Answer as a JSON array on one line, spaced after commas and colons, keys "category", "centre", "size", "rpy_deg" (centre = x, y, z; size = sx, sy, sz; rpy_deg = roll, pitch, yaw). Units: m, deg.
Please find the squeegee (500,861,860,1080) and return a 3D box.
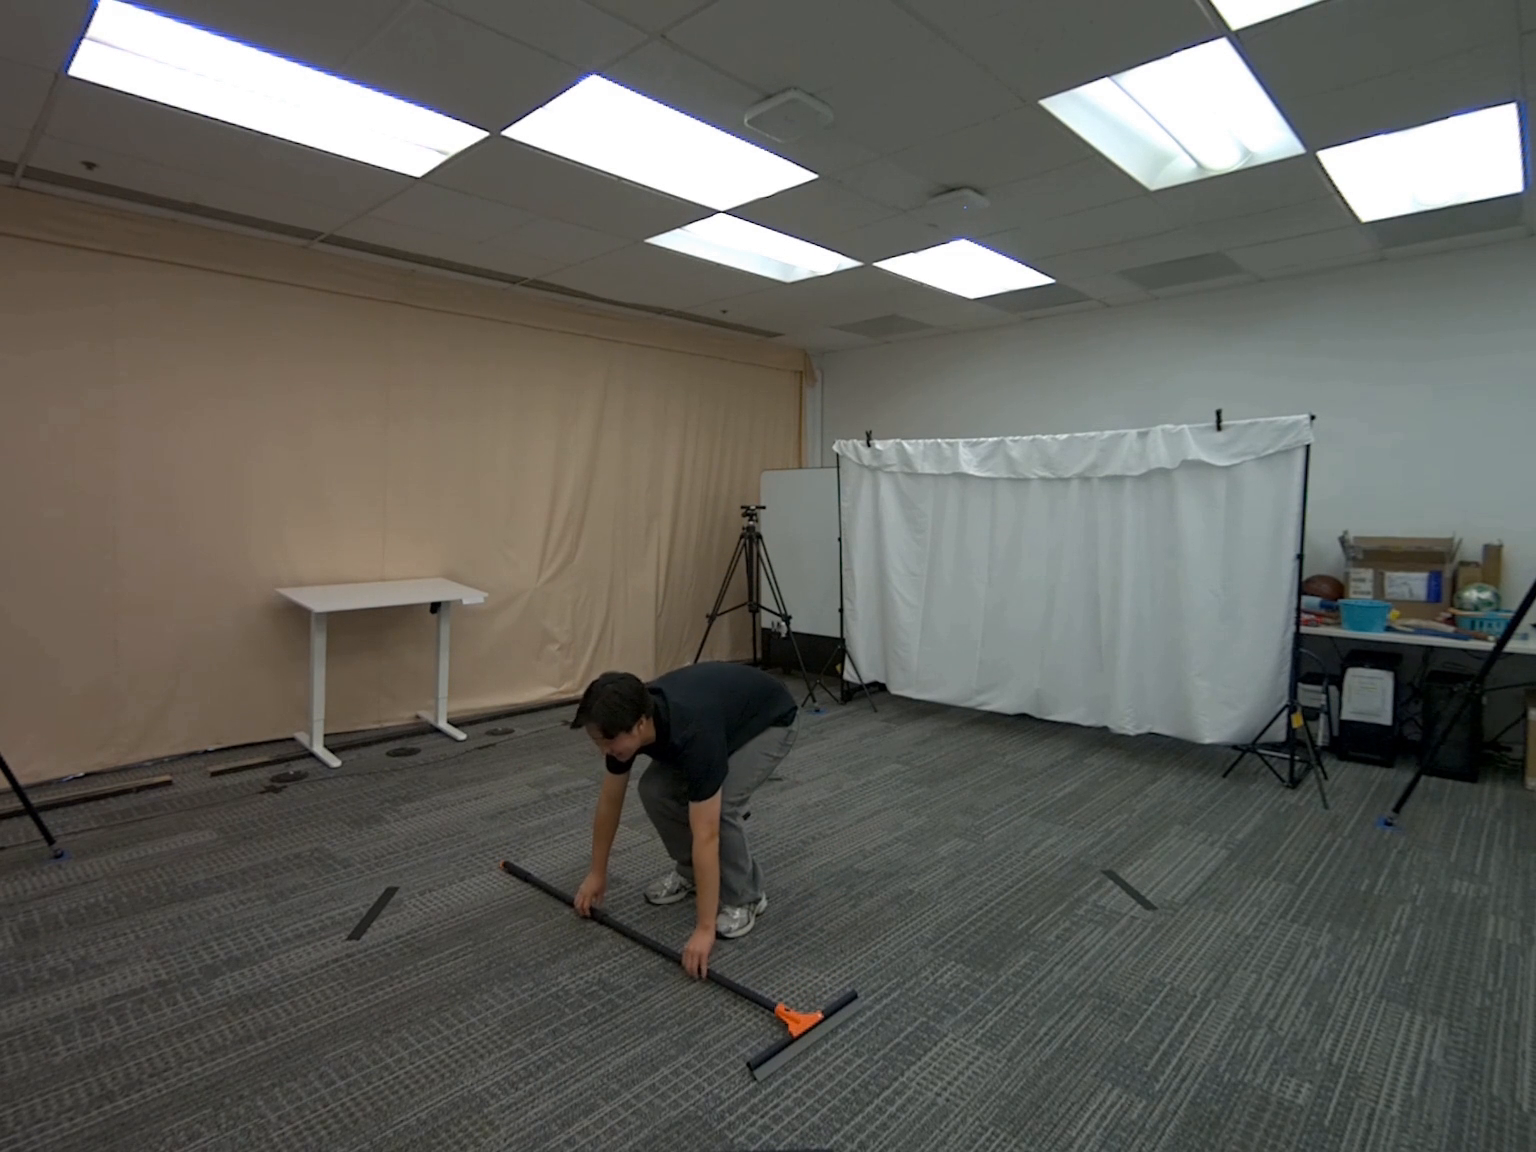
[{"category": "squeegee", "centre": [-0.451, 1.135, 2.719], "size": [1.588, 0.053, 0.424], "rpy_deg": [2, 4, 43]}]
